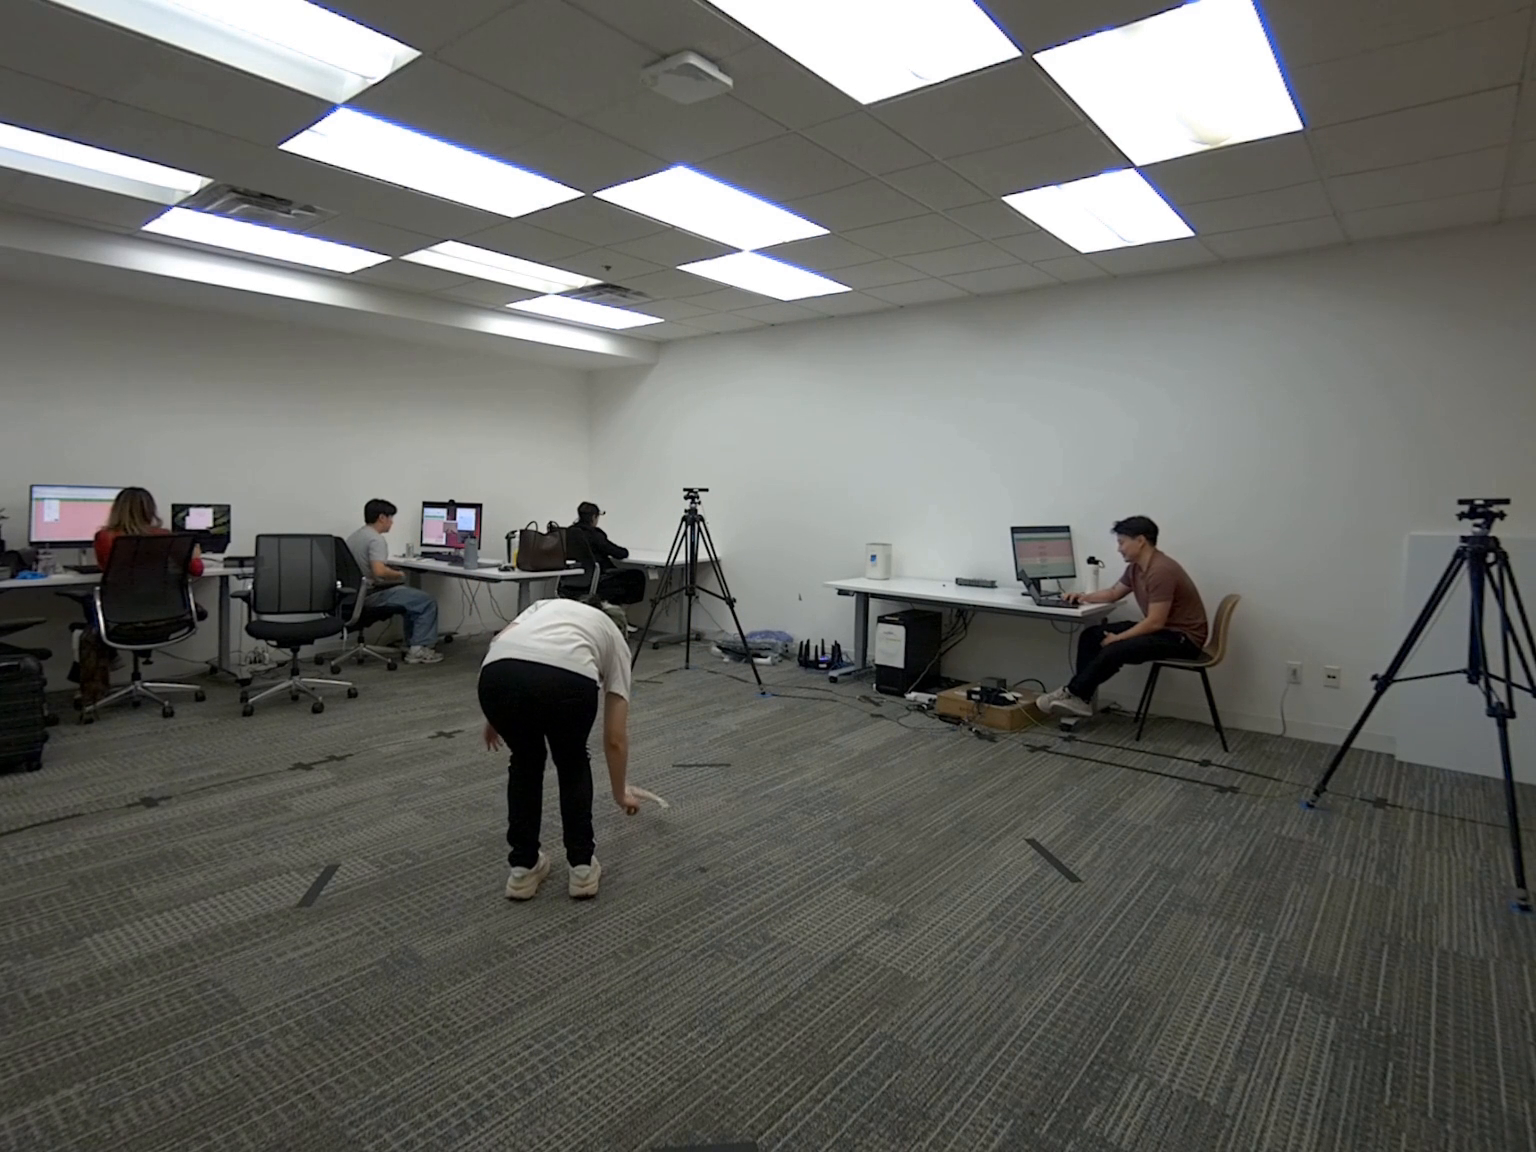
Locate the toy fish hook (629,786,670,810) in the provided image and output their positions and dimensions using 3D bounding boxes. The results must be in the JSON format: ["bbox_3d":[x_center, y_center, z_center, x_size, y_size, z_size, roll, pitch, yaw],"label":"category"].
[{"bbox_3d":[-0.507,0.892,3.368,0.224,0.048,0.506,15,-6,-4],"label":"toy fish hook"}]
